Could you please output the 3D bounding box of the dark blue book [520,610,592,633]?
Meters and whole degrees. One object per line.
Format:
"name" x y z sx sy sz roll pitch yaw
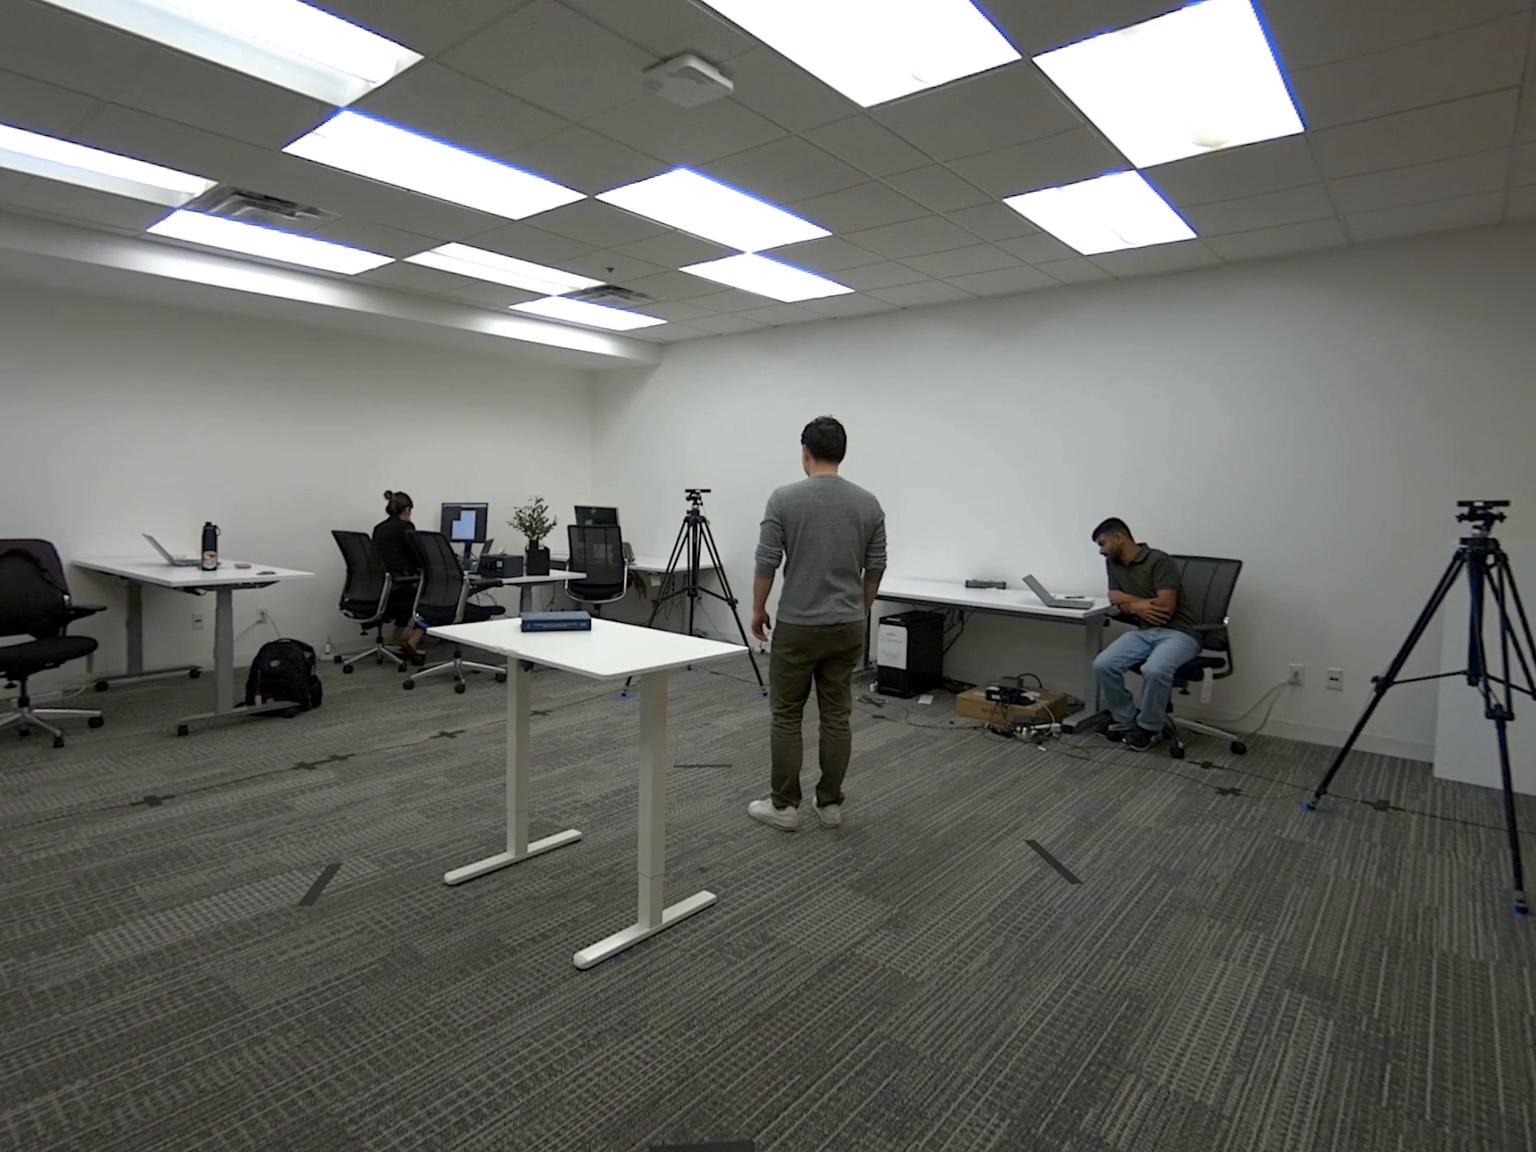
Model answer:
"dark blue book" -0.790 0.167 3.055 0.241 0.045 0.167 -1 7 -15
